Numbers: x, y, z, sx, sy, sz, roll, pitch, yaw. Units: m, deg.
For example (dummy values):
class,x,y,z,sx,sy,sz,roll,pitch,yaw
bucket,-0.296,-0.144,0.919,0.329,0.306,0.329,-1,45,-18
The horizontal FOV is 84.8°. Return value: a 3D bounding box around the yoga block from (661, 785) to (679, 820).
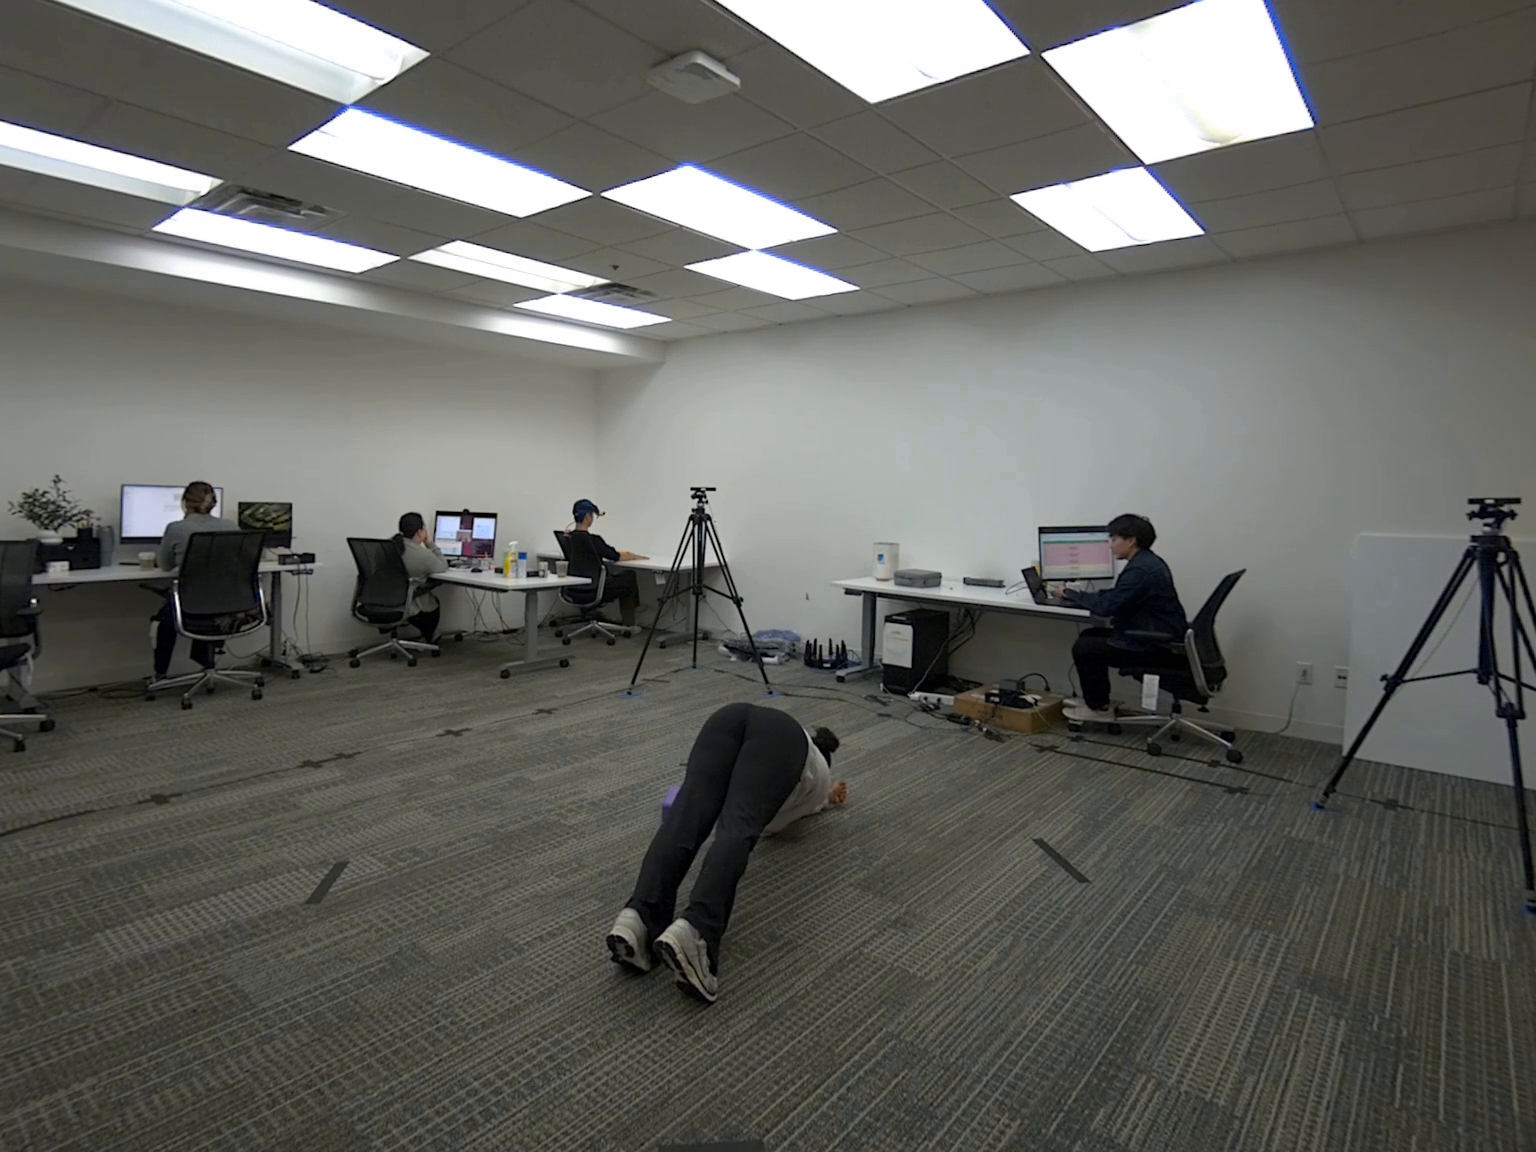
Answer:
class,x,y,z,sx,sy,sz,roll,pitch,yaw
yoga block,-0.367,0.966,3.635,0.149,0.076,0.229,1,6,2
